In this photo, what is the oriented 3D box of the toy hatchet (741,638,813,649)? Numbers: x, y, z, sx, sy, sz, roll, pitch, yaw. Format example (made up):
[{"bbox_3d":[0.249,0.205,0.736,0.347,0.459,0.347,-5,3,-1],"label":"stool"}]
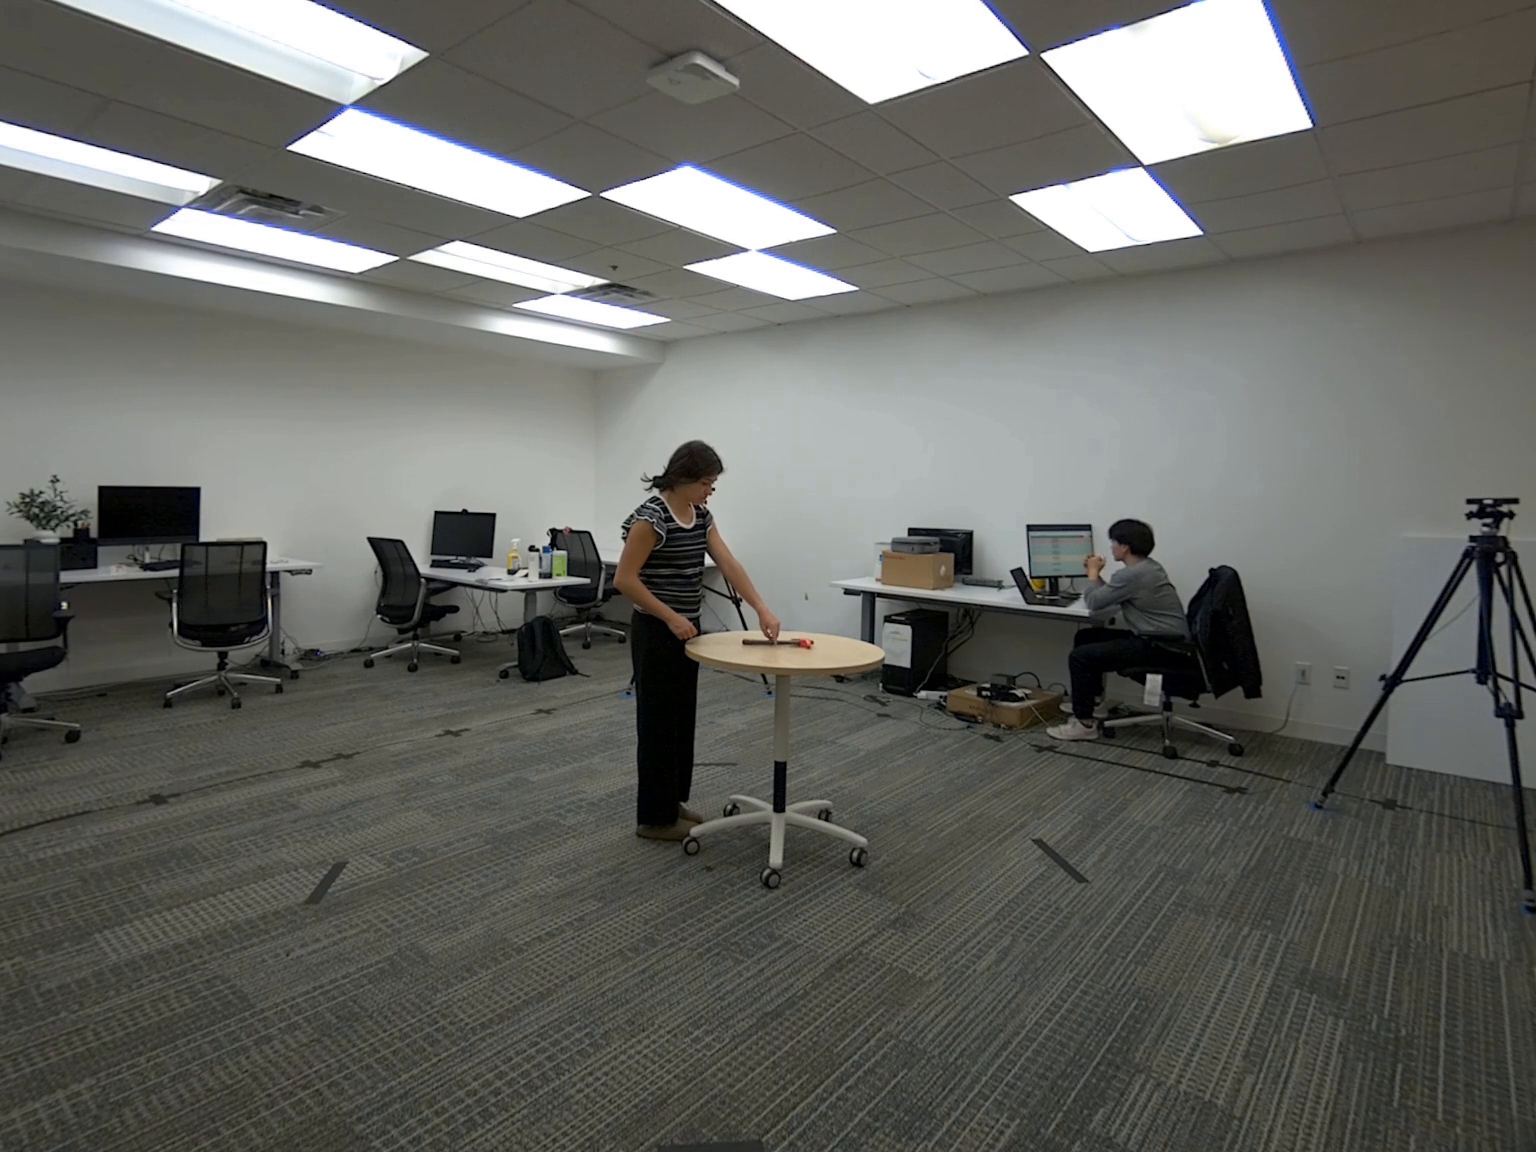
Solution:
[{"bbox_3d":[0.027,0.252,3.338,0.273,0.029,0.130,3,9,10],"label":"toy hatchet"}]
